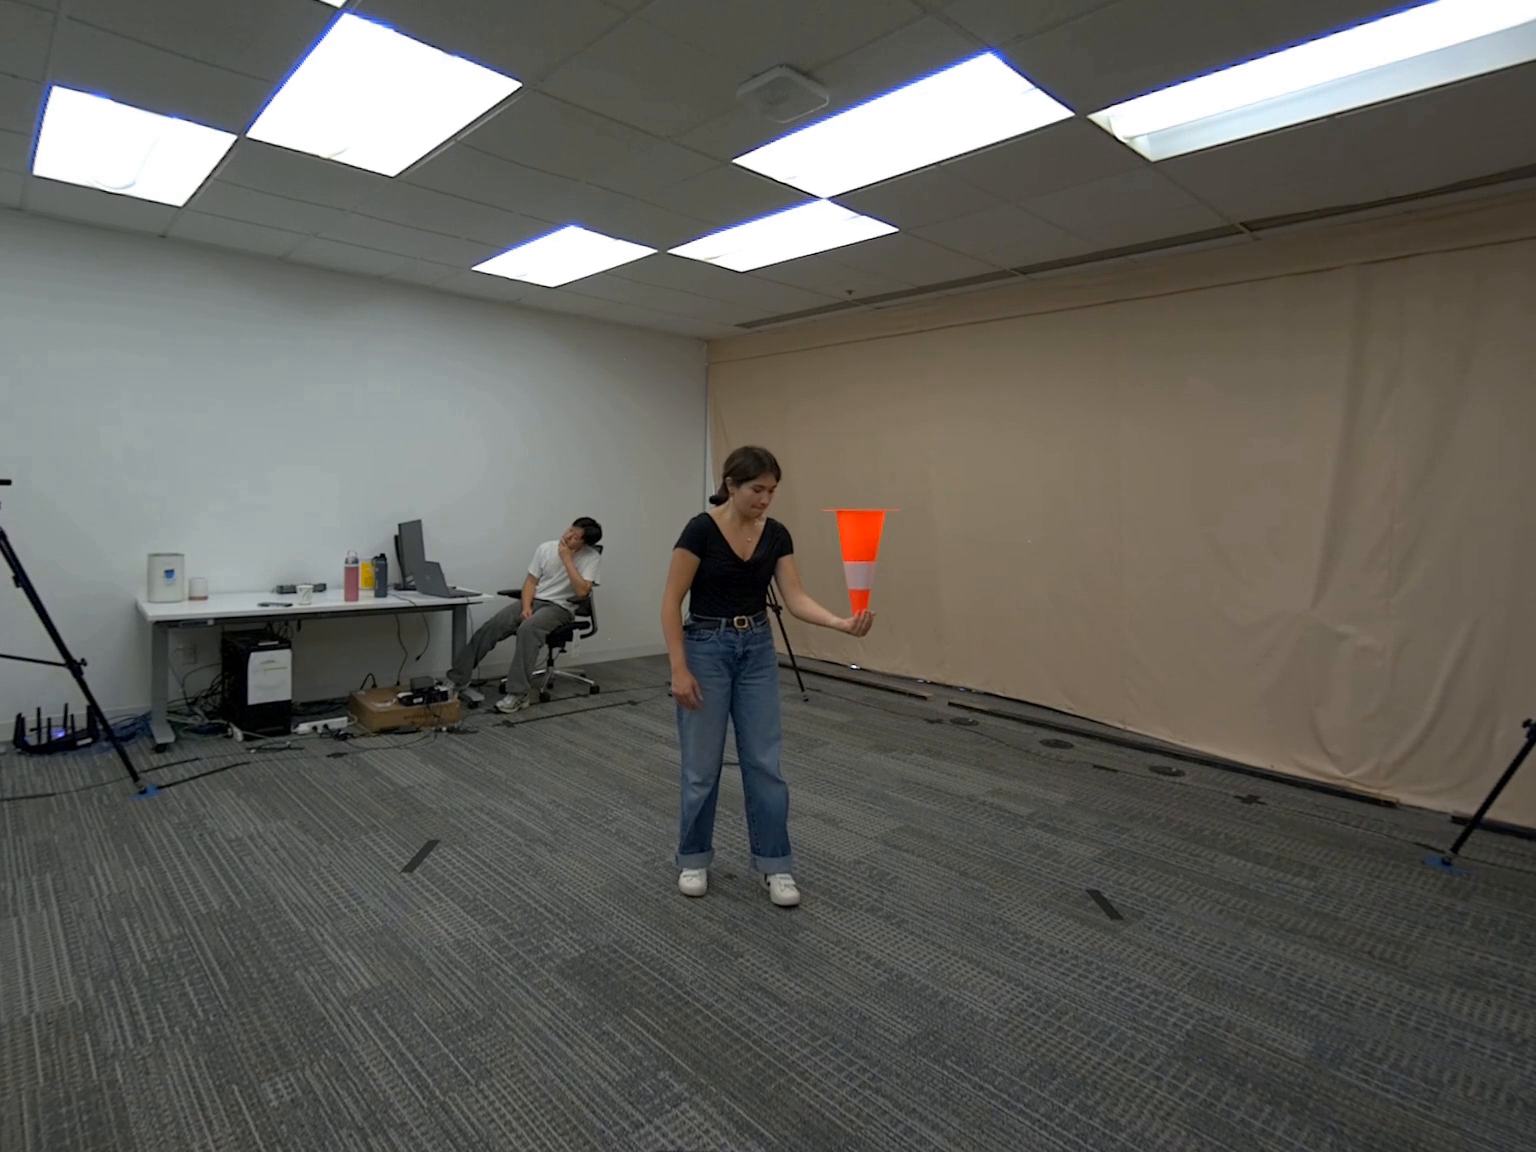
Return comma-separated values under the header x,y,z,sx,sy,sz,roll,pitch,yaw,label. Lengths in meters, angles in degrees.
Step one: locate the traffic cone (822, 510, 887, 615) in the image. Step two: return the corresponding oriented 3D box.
x,y,z,sx,sy,sz,roll,pitch,yaw,label
0.287,-0.016,2.718,0.207,0.384,0.201,-2,0,24,traffic cone
